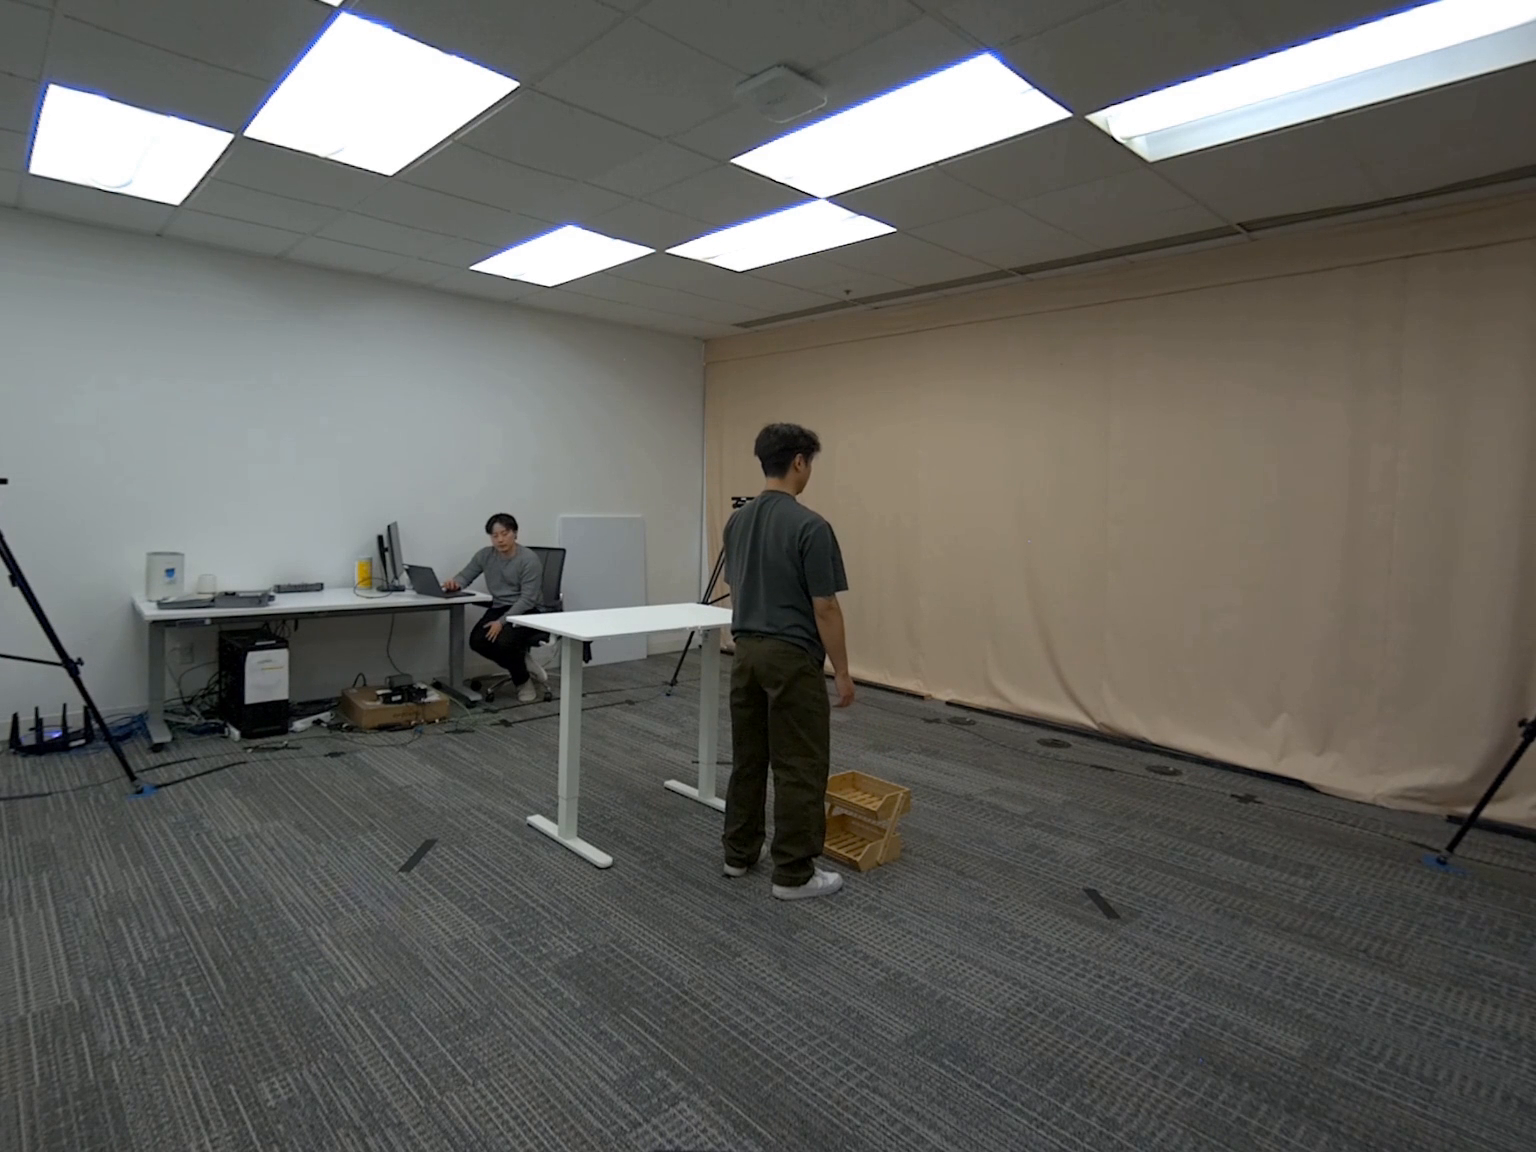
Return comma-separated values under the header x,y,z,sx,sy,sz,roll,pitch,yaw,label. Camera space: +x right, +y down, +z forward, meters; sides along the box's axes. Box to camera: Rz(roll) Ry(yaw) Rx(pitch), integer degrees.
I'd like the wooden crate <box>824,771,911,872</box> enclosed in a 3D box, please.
x,y,z,sx,sy,sz,roll,pitch,yaw,label
0.343,0.962,3.357,0.295,0.273,0.333,-1,4,-42,wooden crate
